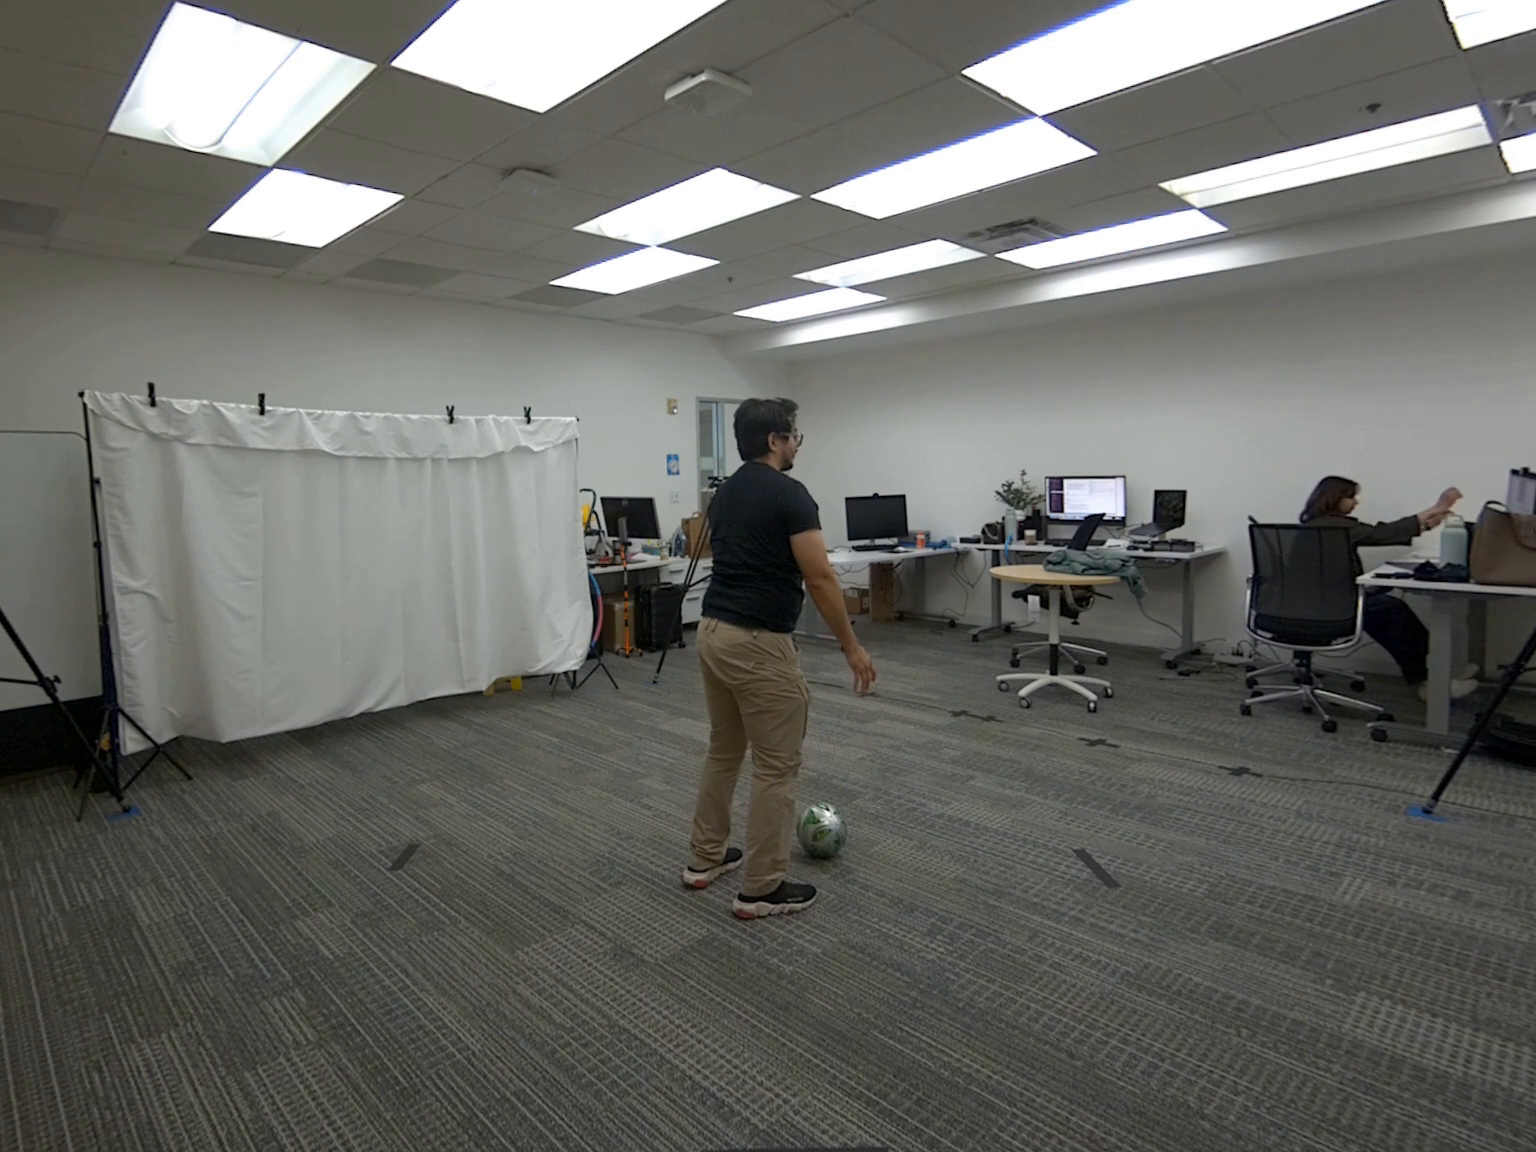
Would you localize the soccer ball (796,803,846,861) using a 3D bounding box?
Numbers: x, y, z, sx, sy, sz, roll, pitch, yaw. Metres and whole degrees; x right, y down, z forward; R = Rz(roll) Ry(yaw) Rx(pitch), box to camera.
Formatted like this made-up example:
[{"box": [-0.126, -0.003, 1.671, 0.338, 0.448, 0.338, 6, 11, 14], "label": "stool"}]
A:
[{"box": [0.196, 0.933, 3.141, 0.187, 0.187, 0.188, -1, 5, -2], "label": "soccer ball"}]
